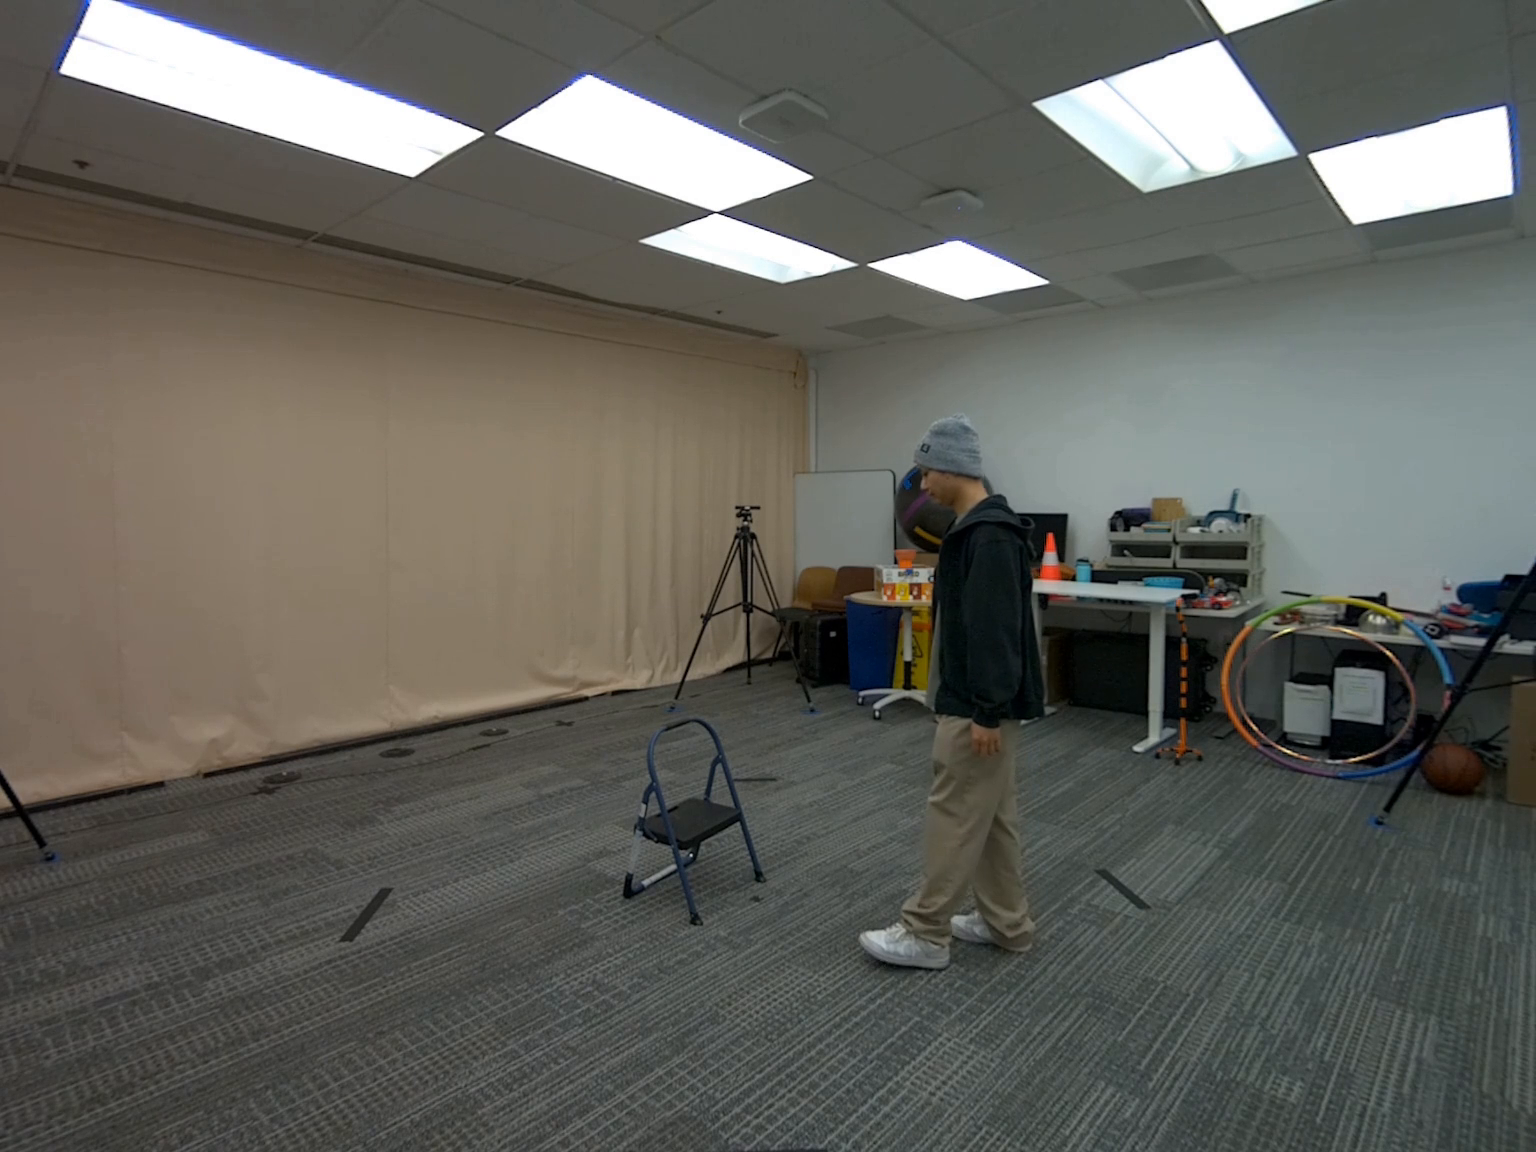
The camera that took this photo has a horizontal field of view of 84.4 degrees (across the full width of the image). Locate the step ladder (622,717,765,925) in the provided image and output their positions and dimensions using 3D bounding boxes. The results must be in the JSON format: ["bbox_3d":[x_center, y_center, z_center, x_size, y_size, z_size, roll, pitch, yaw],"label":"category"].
[{"bbox_3d":[-0.263,0.835,3.049,0.360,0.605,0.418,2,4,33],"label":"step ladder"}]
